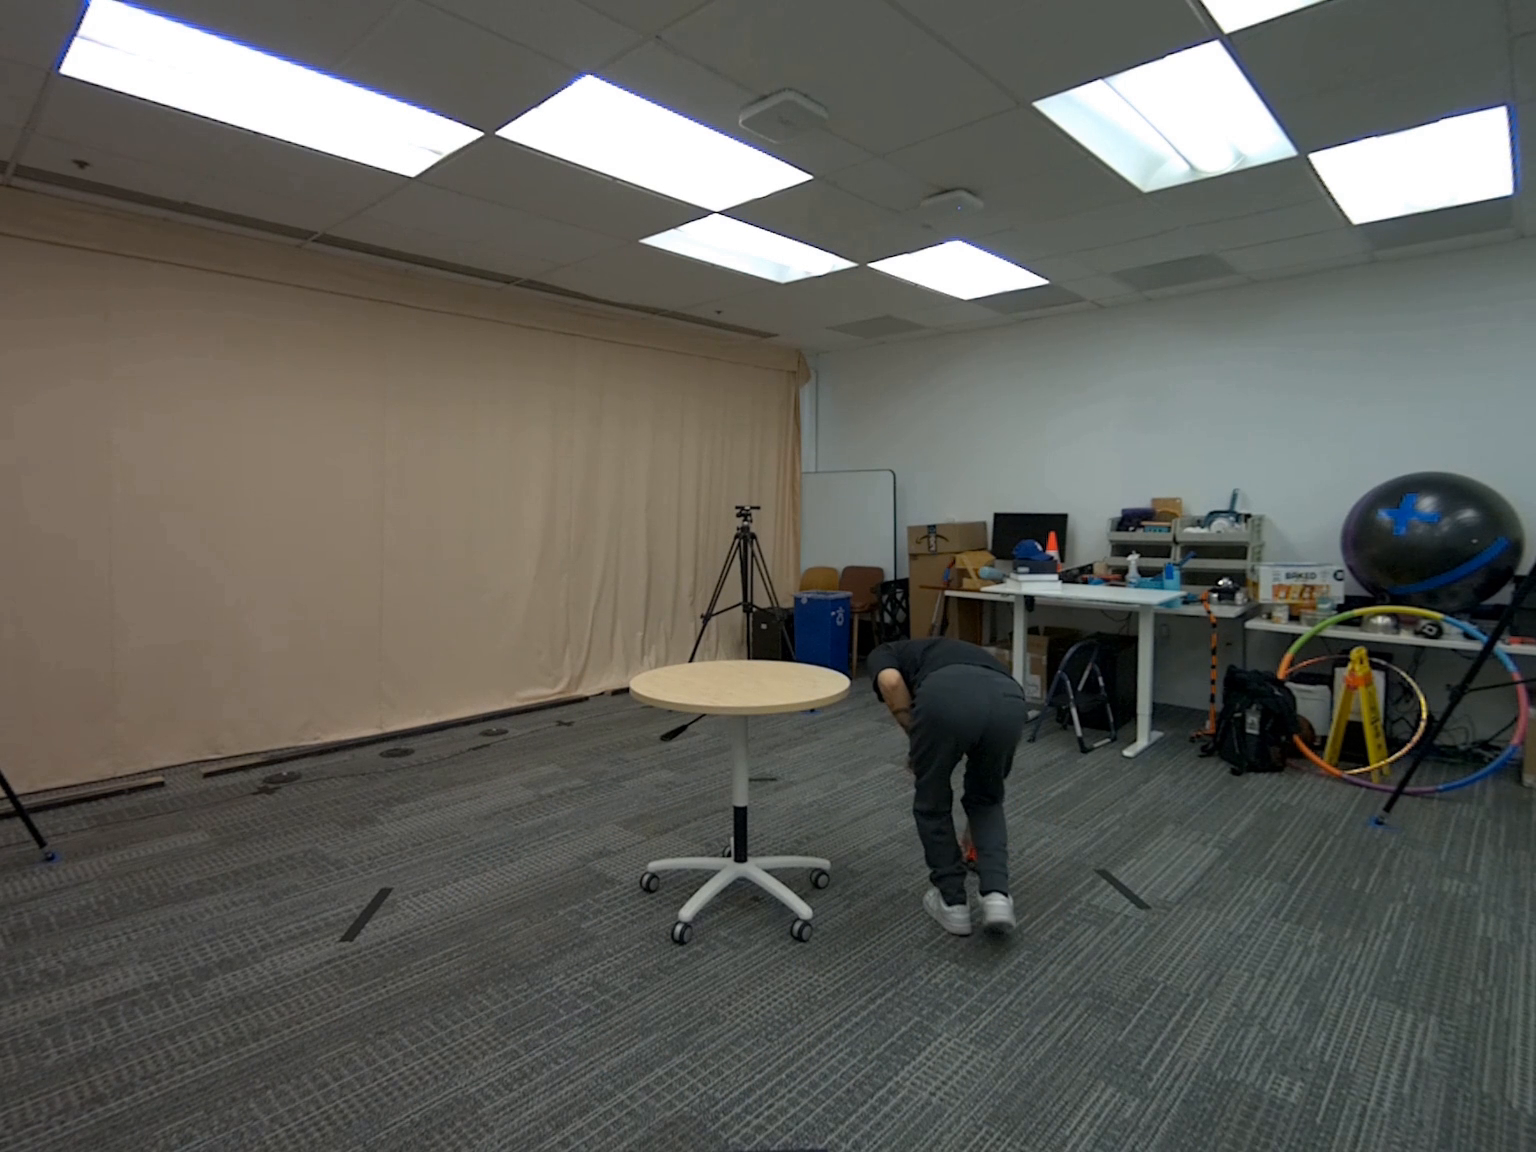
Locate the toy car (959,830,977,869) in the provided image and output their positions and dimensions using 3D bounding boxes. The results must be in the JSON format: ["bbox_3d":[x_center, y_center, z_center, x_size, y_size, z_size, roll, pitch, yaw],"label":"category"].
[{"bbox_3d":[0.807,1.090,3.274,0.127,0.083,0.260,-3,-5,-28],"label":"toy car"}]
